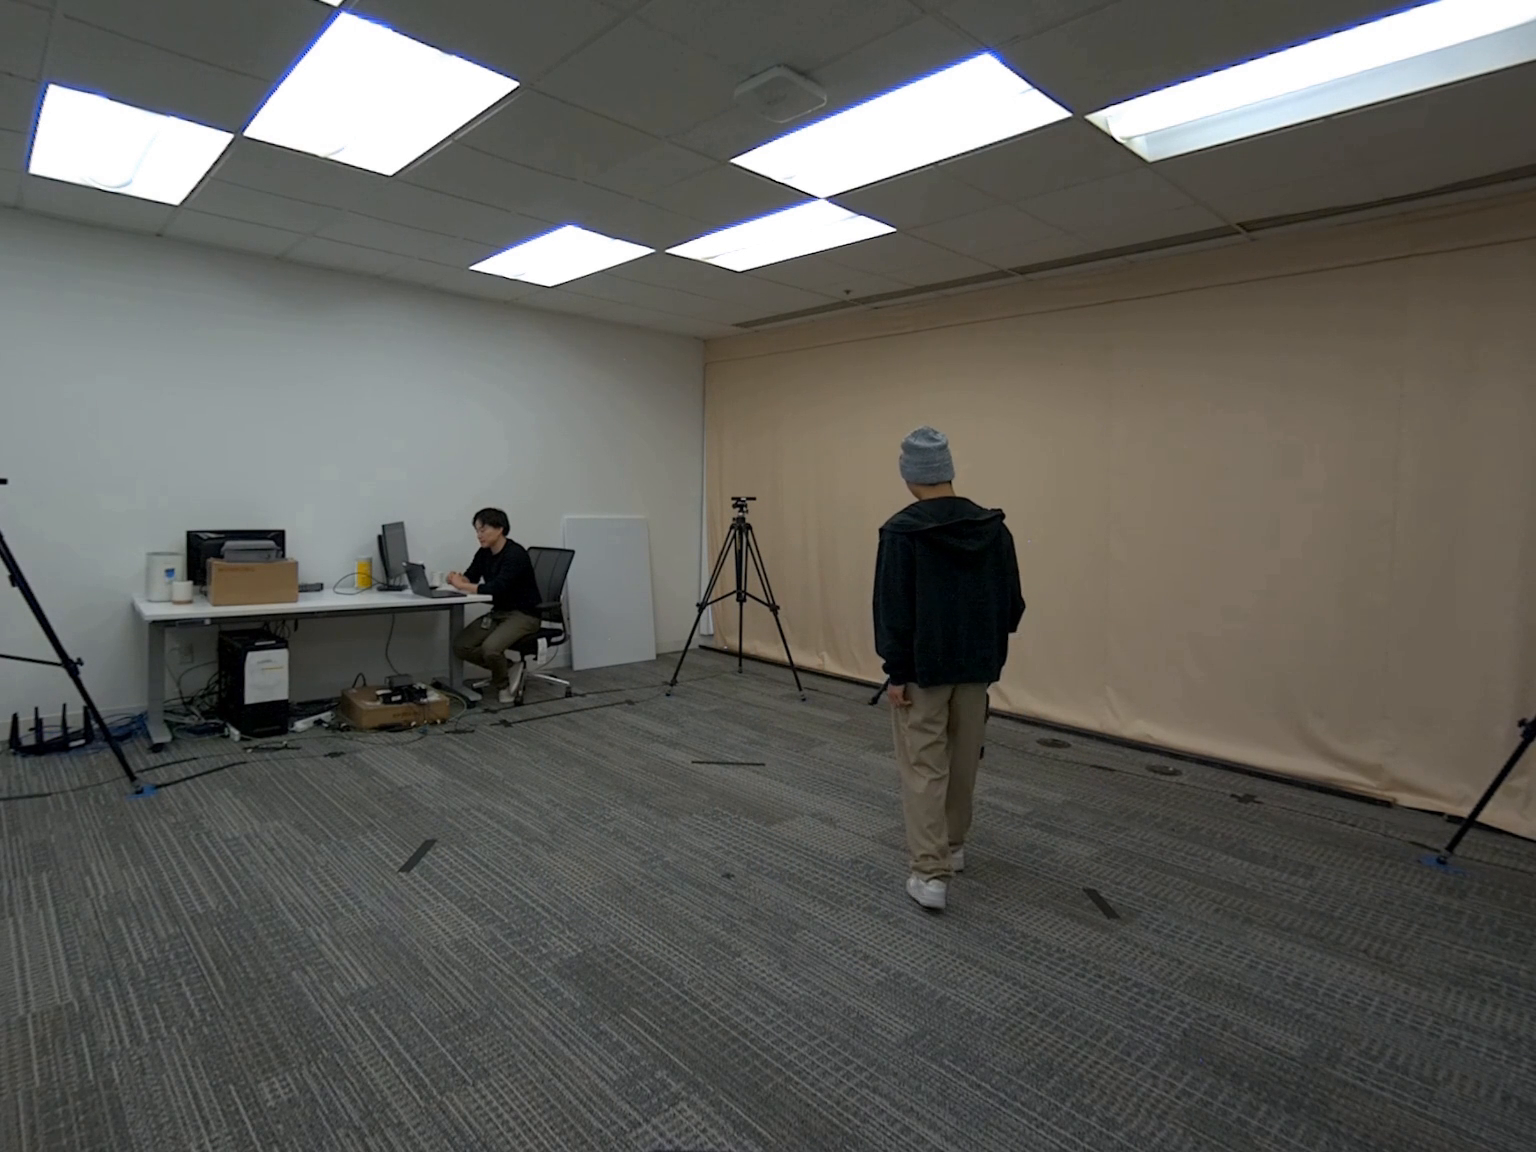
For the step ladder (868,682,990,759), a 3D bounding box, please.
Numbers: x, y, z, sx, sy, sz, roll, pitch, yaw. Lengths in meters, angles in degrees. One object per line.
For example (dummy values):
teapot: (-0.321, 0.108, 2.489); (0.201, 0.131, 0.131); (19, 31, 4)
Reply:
step ladder: (0.715, 0.447, 3.505); (0.345, 0.595, 0.444); (-7, 40, -20)
